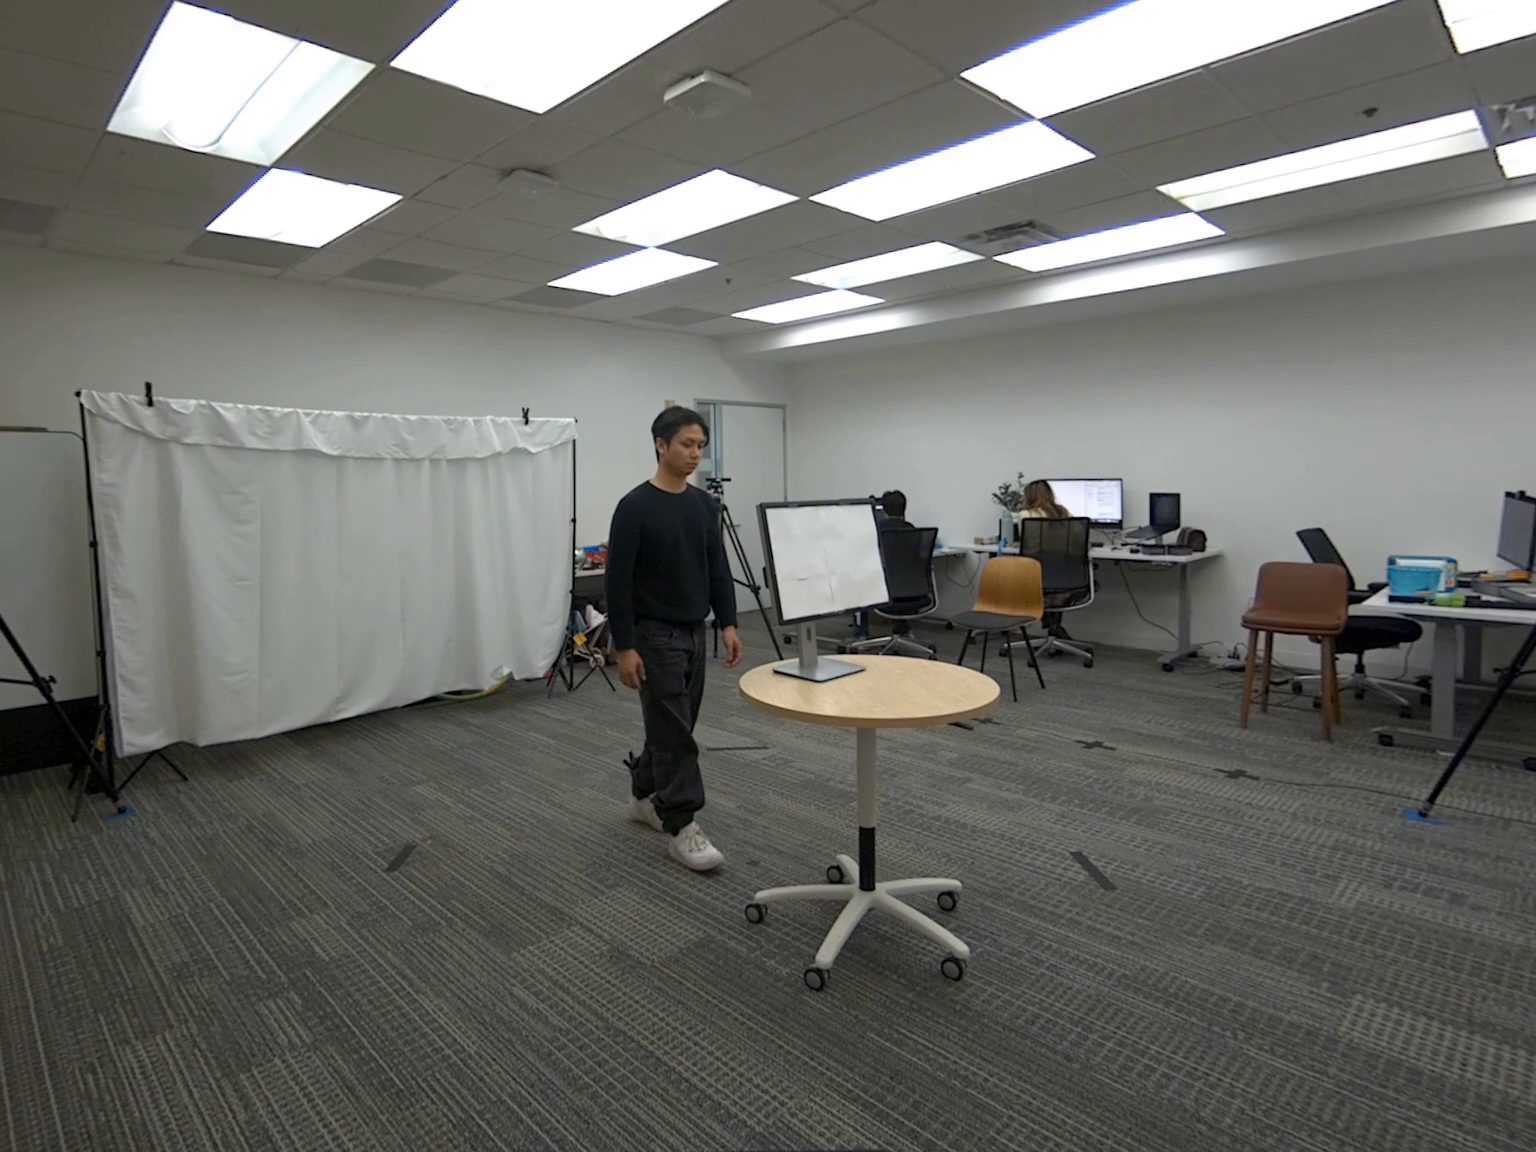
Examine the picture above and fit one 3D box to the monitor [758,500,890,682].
[{"bbox_3d":[0.164,0.039,2.699,0.193,0.520,0.525,3,6,41],"label":"monitor"}]
